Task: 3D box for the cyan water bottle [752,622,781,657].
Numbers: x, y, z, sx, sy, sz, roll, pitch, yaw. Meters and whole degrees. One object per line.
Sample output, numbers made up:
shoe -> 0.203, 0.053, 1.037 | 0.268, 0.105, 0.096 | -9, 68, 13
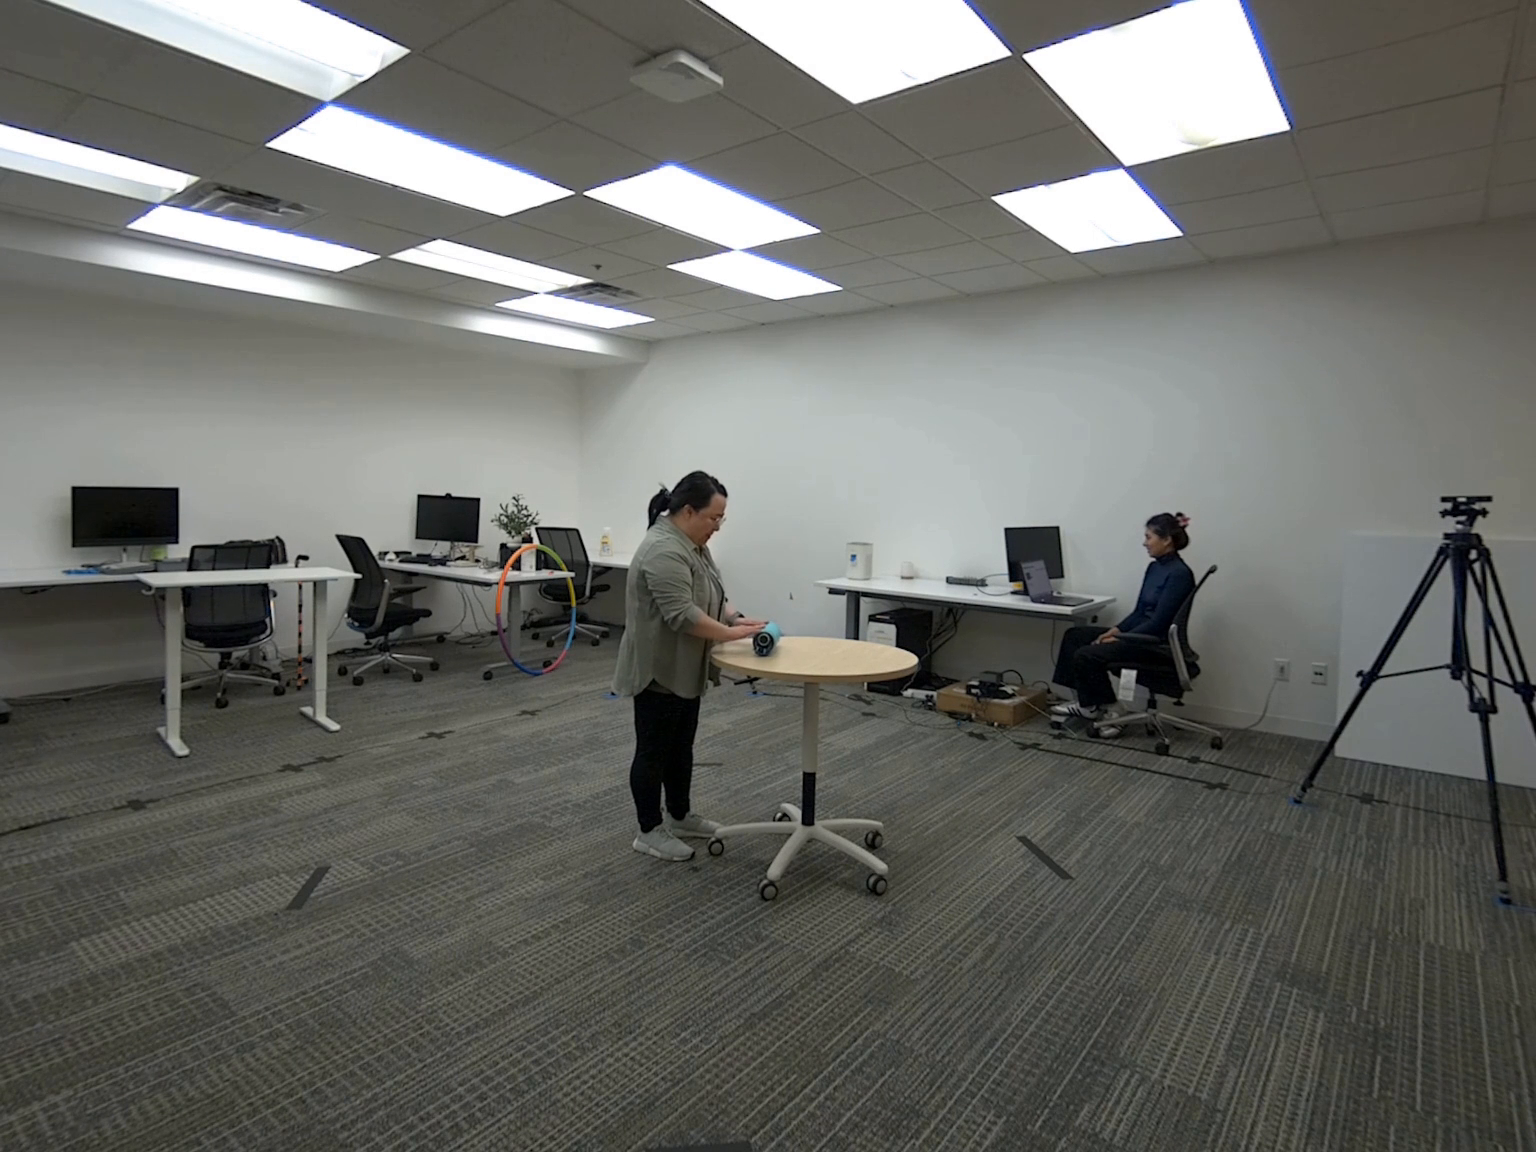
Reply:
cyan water bottle -> -0.012, 0.238, 3.193 | 0.093, 0.092, 0.283 | 1, 6, 2
